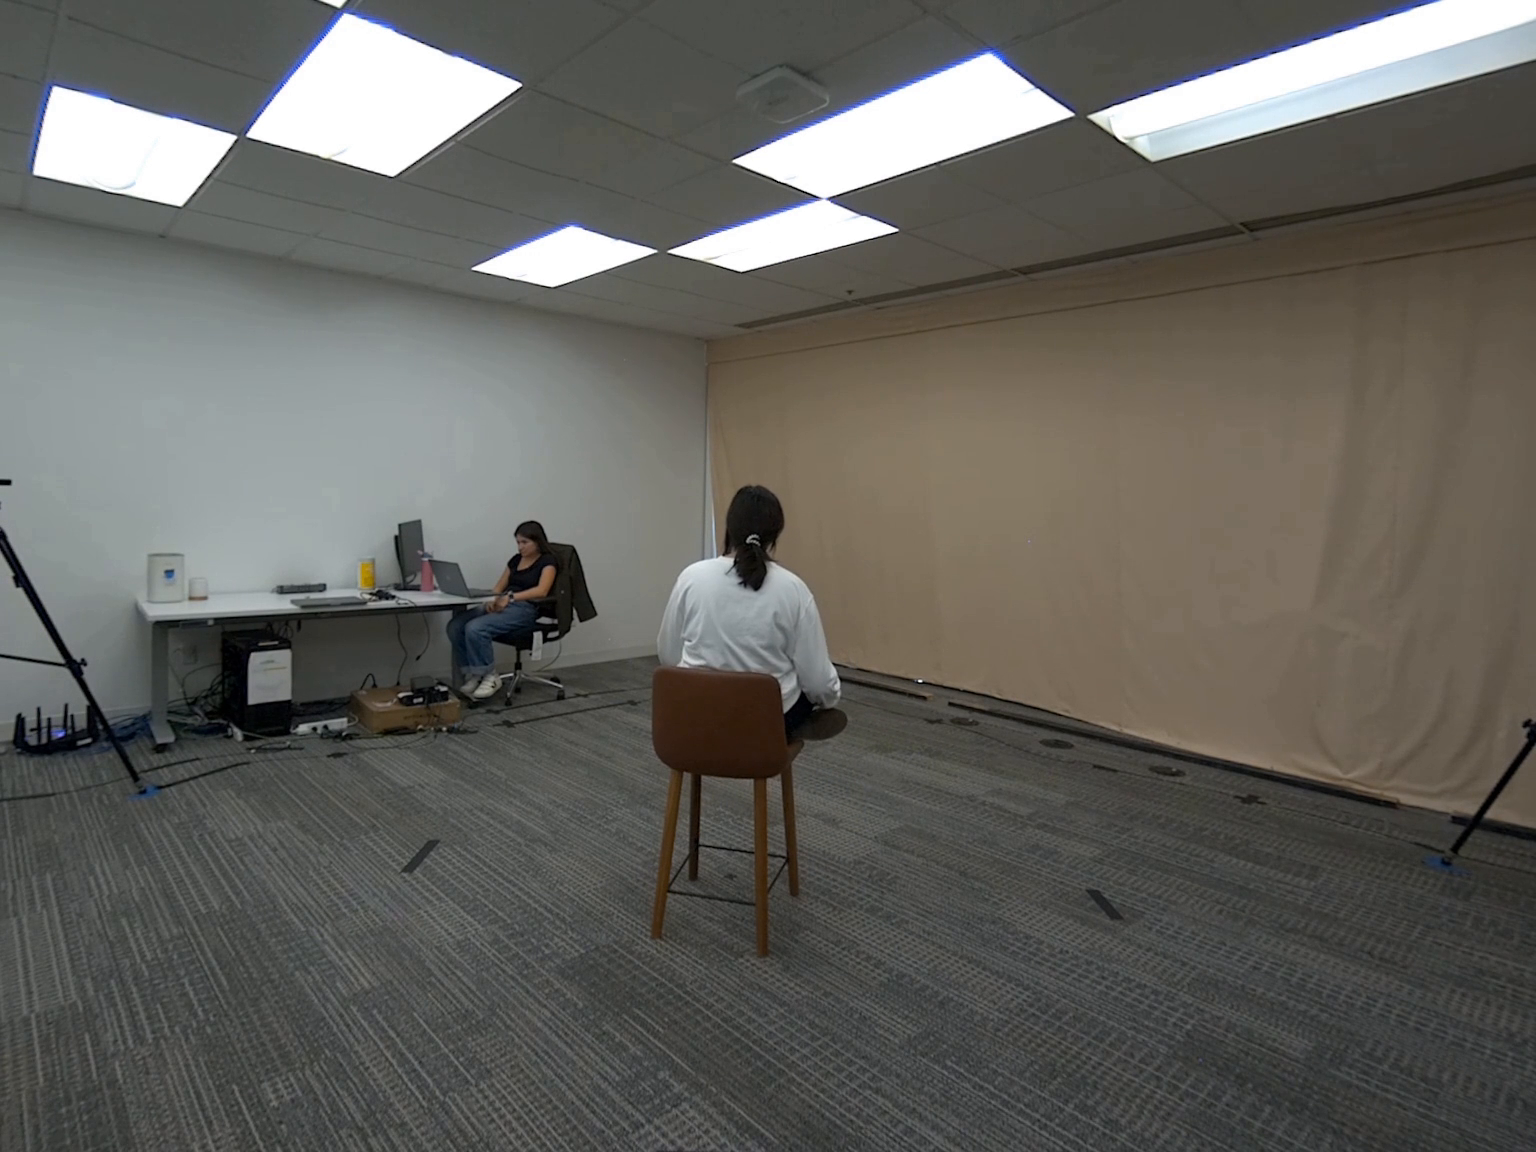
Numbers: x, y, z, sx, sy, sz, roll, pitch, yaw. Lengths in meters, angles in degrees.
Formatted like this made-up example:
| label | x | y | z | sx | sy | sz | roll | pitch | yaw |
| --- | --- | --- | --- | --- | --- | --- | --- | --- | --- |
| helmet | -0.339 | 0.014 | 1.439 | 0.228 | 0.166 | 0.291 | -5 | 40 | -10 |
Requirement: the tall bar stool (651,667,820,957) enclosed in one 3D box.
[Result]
| label | x | y | z | sx | sy | sz | roll | pitch | yaw |
| --- | --- | --- | --- | --- | --- | --- | --- | --- | --- |
| tall bar stool | -0.139 | 0.709 | 2.786 | 0.462 | 0.886 | 0.463 | 3 | 6 | 16 |
